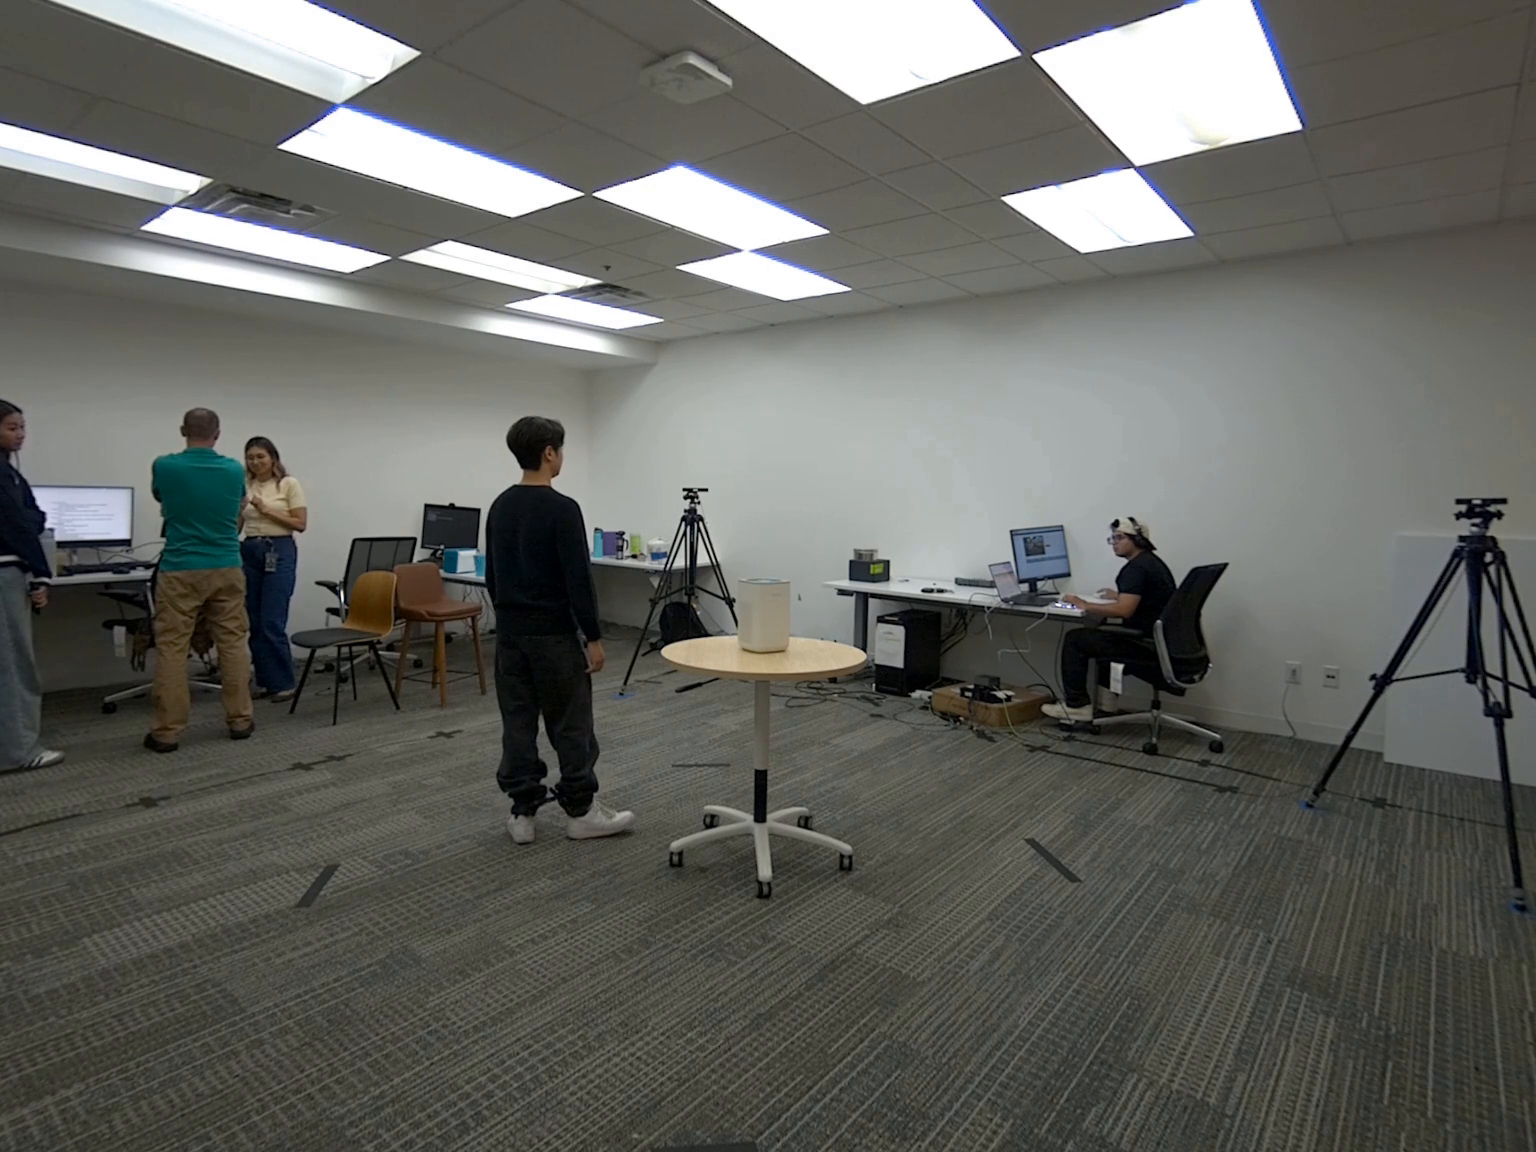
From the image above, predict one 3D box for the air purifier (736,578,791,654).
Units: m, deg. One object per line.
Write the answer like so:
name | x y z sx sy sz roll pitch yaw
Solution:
air purifier | -0.029 0.144 3.232 0.166 0.265 0.177 -2 3 -33
